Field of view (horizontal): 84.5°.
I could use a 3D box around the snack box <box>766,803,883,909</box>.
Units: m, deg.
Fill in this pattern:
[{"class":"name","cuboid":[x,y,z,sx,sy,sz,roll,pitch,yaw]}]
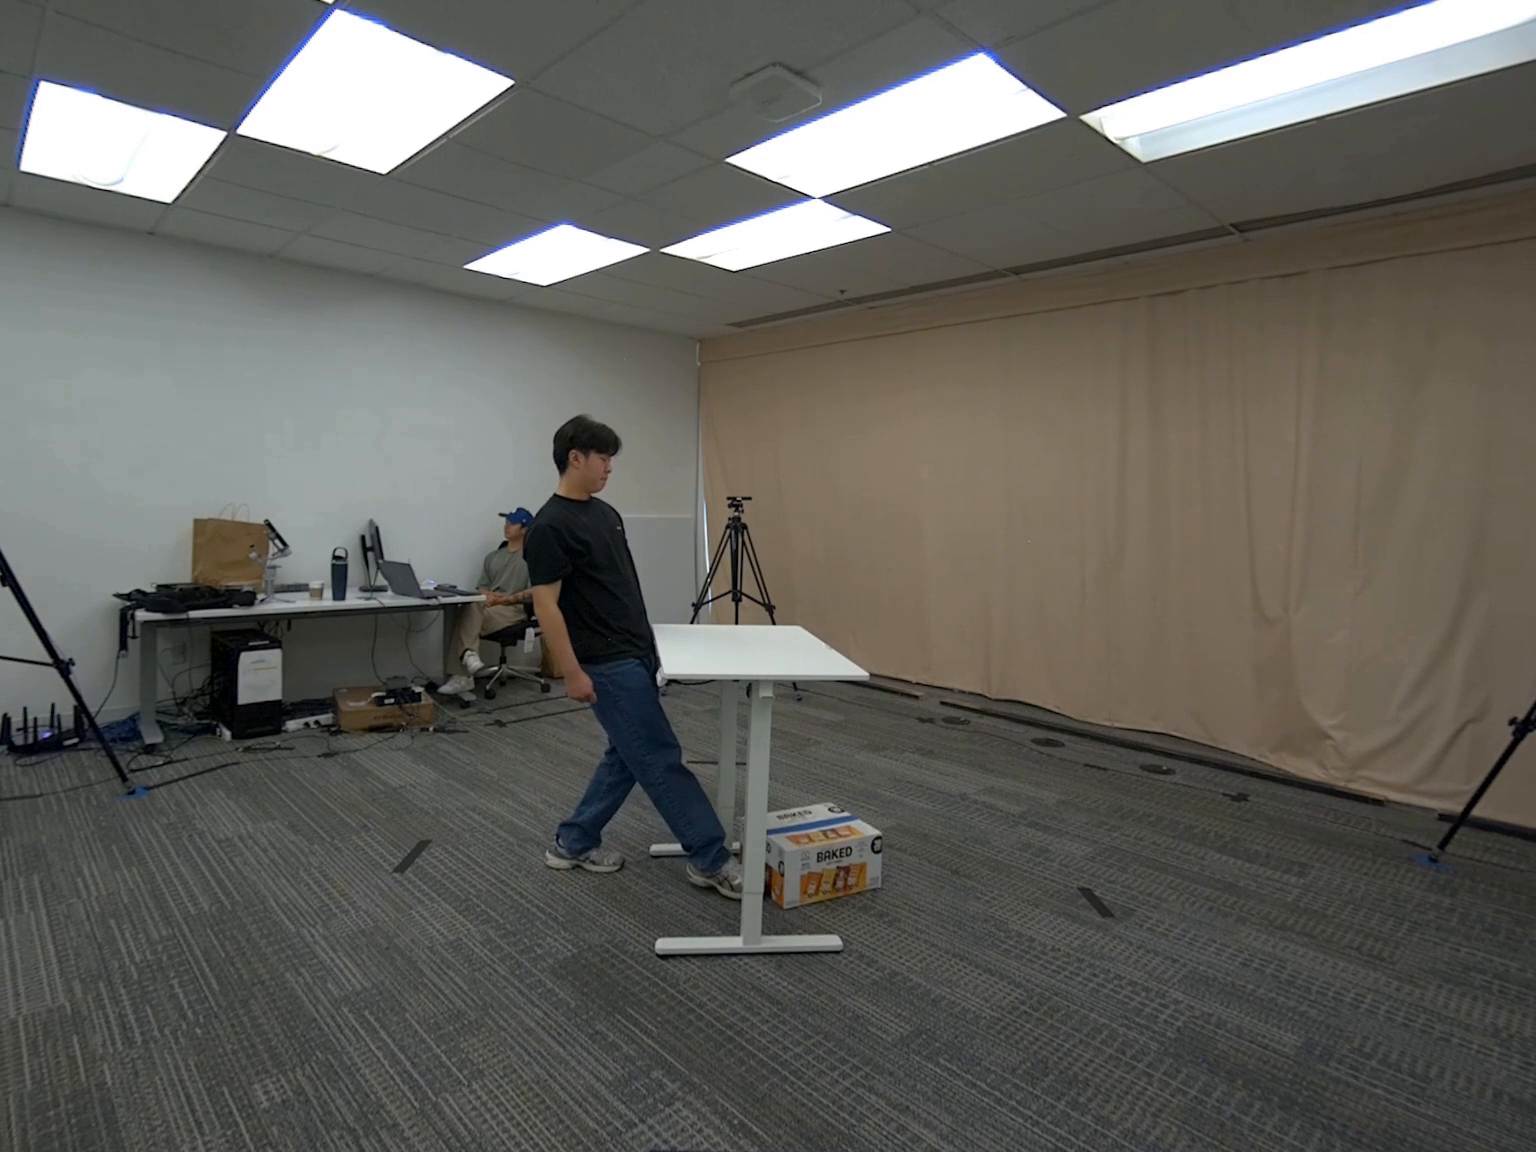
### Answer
[{"class":"snack box","cuboid":[0.142,1.013,3.079,0.397,0.205,0.348,-1,5,-28]}]
